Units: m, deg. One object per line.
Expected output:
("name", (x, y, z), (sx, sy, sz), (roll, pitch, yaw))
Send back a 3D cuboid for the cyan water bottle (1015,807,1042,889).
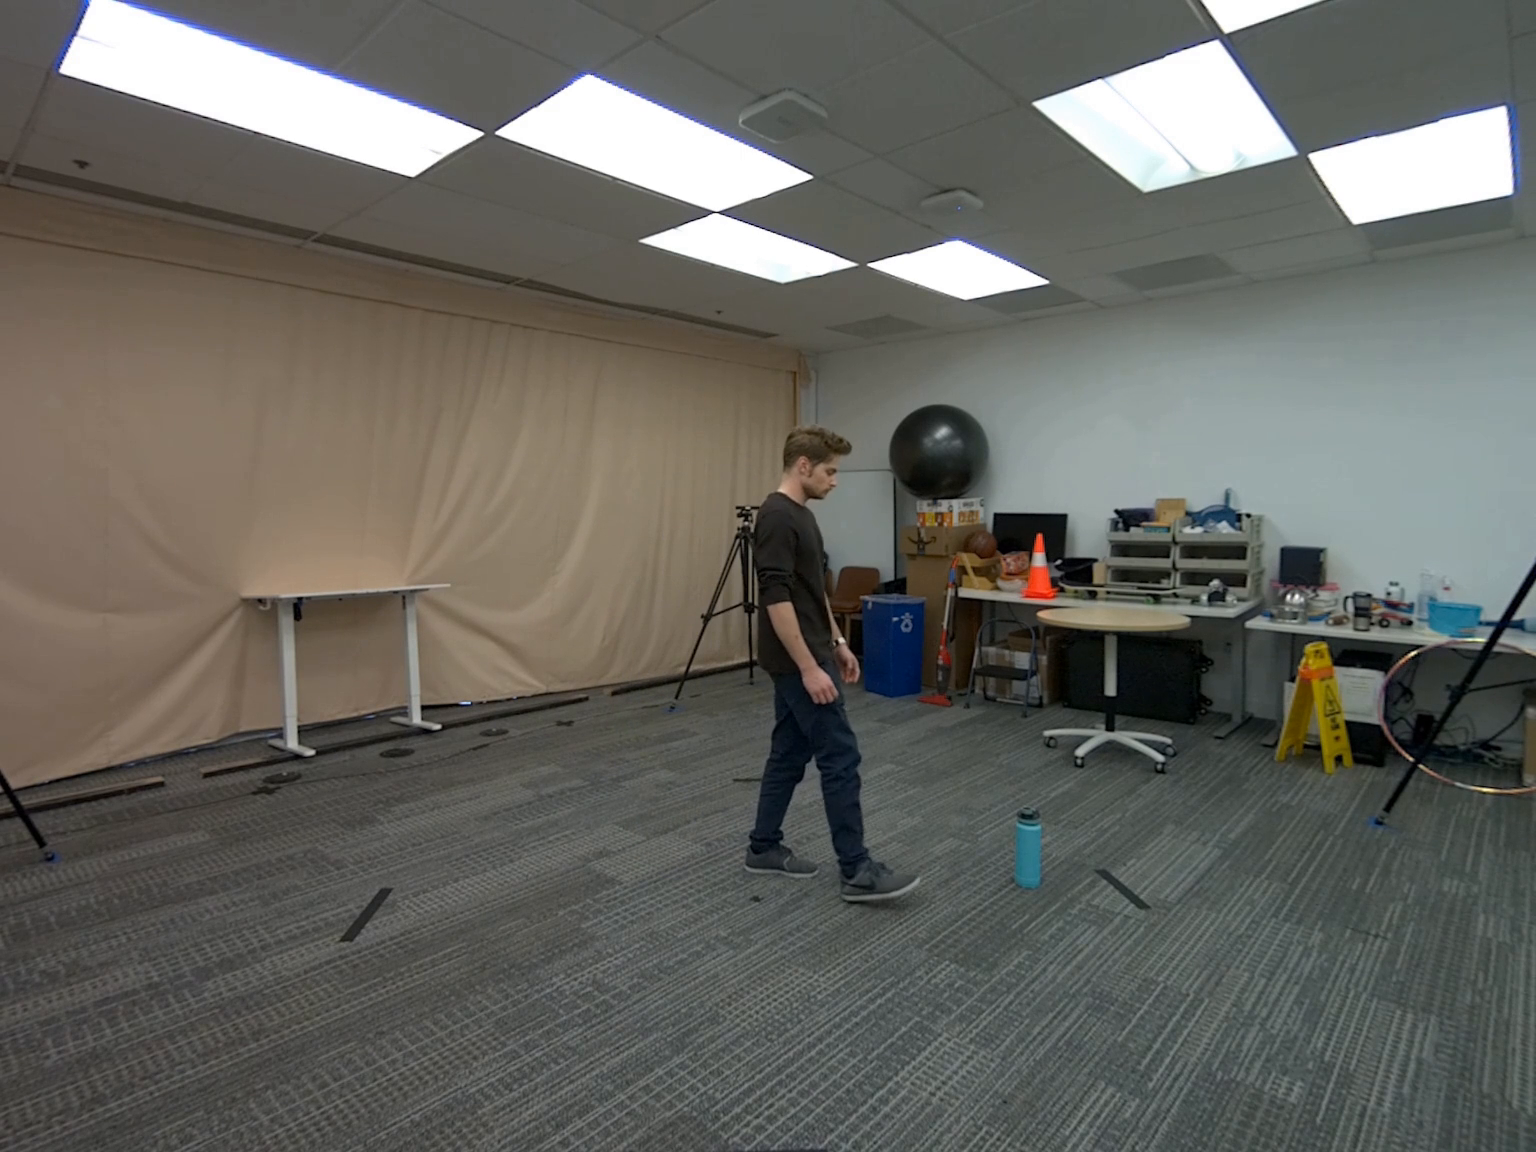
("cyan water bottle", (0.964, 0.993, 3.101), (0.092, 0.283, 0.092), (0, 2, -2))
